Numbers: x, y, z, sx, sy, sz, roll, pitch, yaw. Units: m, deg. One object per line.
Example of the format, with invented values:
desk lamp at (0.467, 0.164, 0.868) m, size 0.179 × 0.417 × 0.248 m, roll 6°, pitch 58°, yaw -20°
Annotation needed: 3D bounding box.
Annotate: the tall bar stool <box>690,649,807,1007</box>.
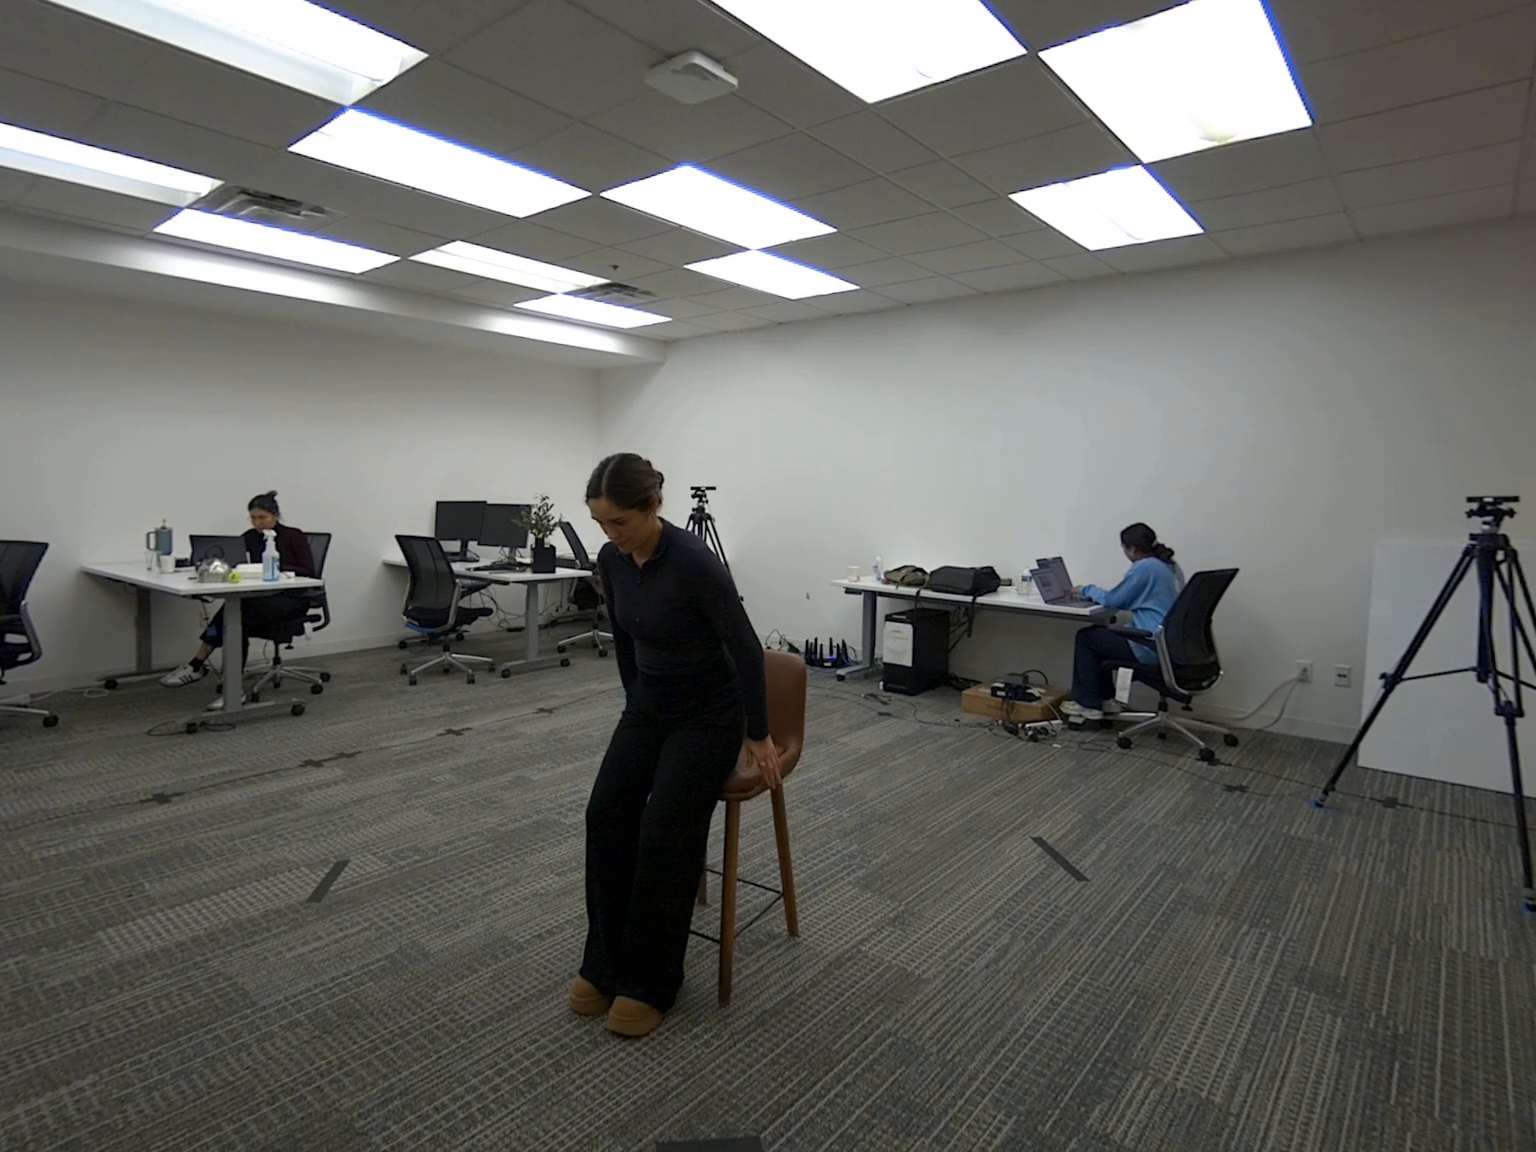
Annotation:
tall bar stool at (-0.171, 0.685, 2.556) m, size 0.470 × 0.888 × 0.454 m, roll 4°, pitch 3°, yaw 32°
